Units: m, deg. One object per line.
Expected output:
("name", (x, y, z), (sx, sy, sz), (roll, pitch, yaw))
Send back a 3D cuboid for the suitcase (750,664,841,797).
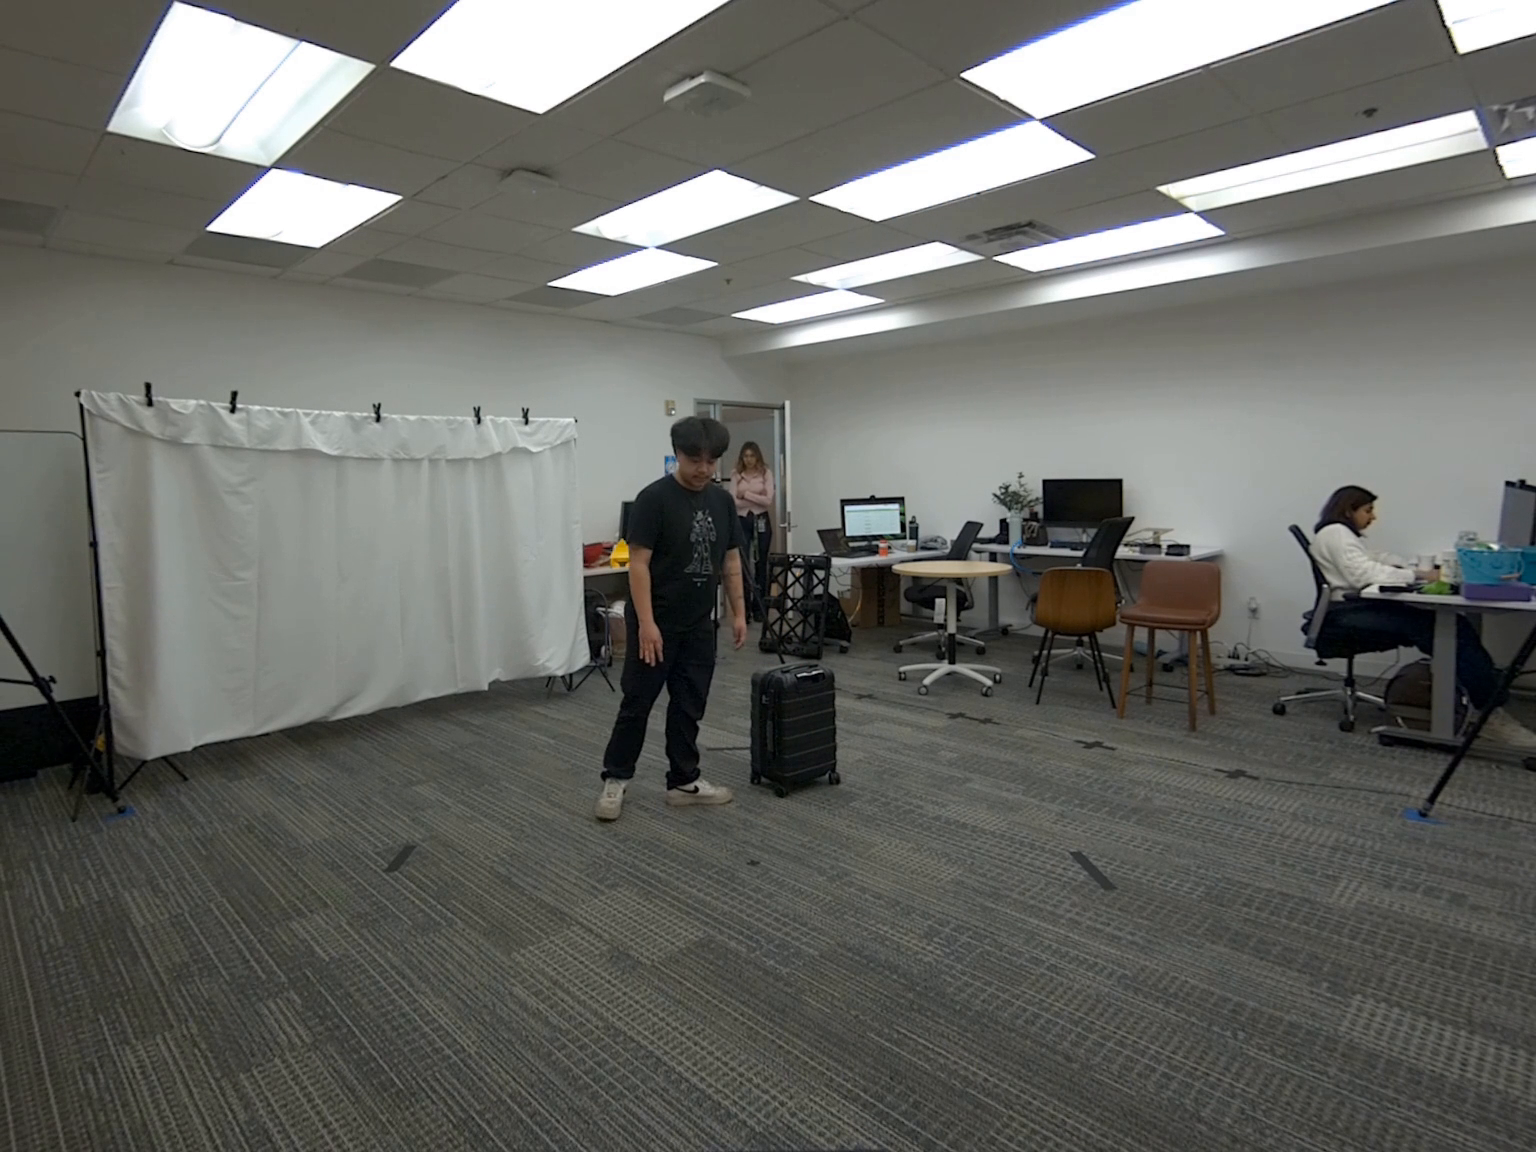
("suitcase", (0.112, 0.676, 3.899), (0.365, 0.547, 0.256), (-4, 5, -38))
